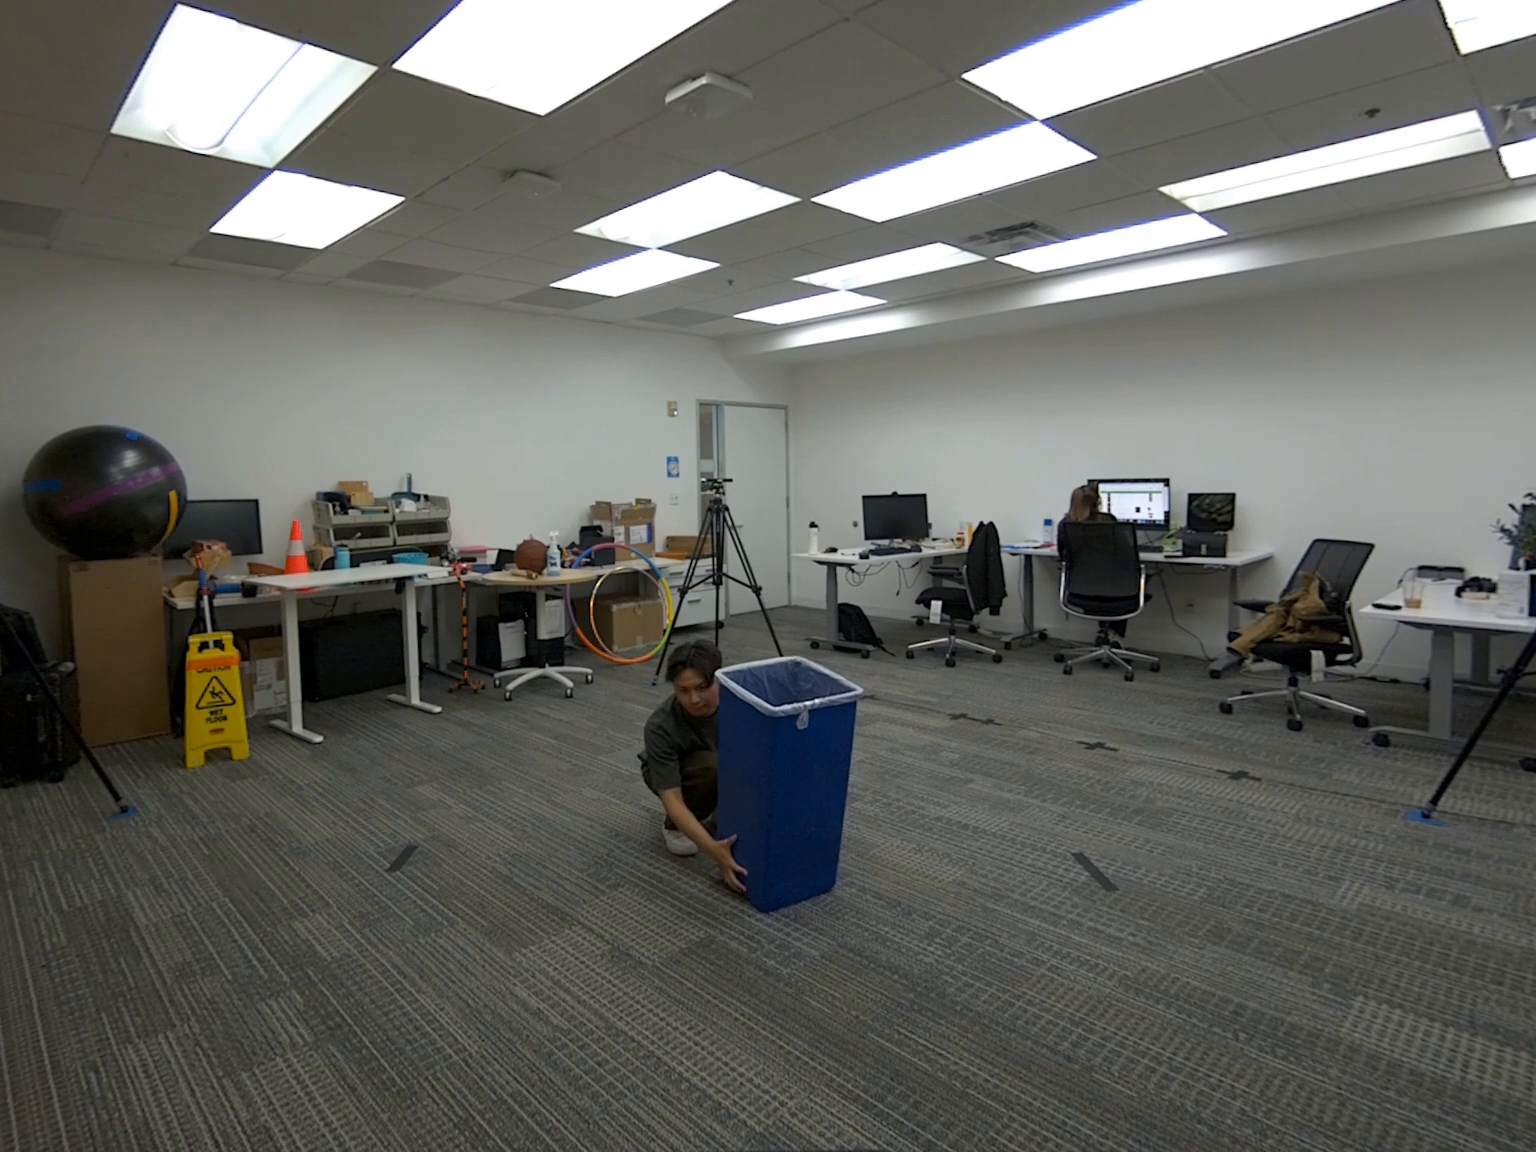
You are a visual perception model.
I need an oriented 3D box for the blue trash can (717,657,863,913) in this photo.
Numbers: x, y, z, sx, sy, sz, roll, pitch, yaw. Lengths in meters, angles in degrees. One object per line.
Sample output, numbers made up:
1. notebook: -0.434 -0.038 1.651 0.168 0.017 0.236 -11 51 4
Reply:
1. blue trash can: 0.052 0.675 2.873 0.365 0.706 0.391 -5 14 -32
